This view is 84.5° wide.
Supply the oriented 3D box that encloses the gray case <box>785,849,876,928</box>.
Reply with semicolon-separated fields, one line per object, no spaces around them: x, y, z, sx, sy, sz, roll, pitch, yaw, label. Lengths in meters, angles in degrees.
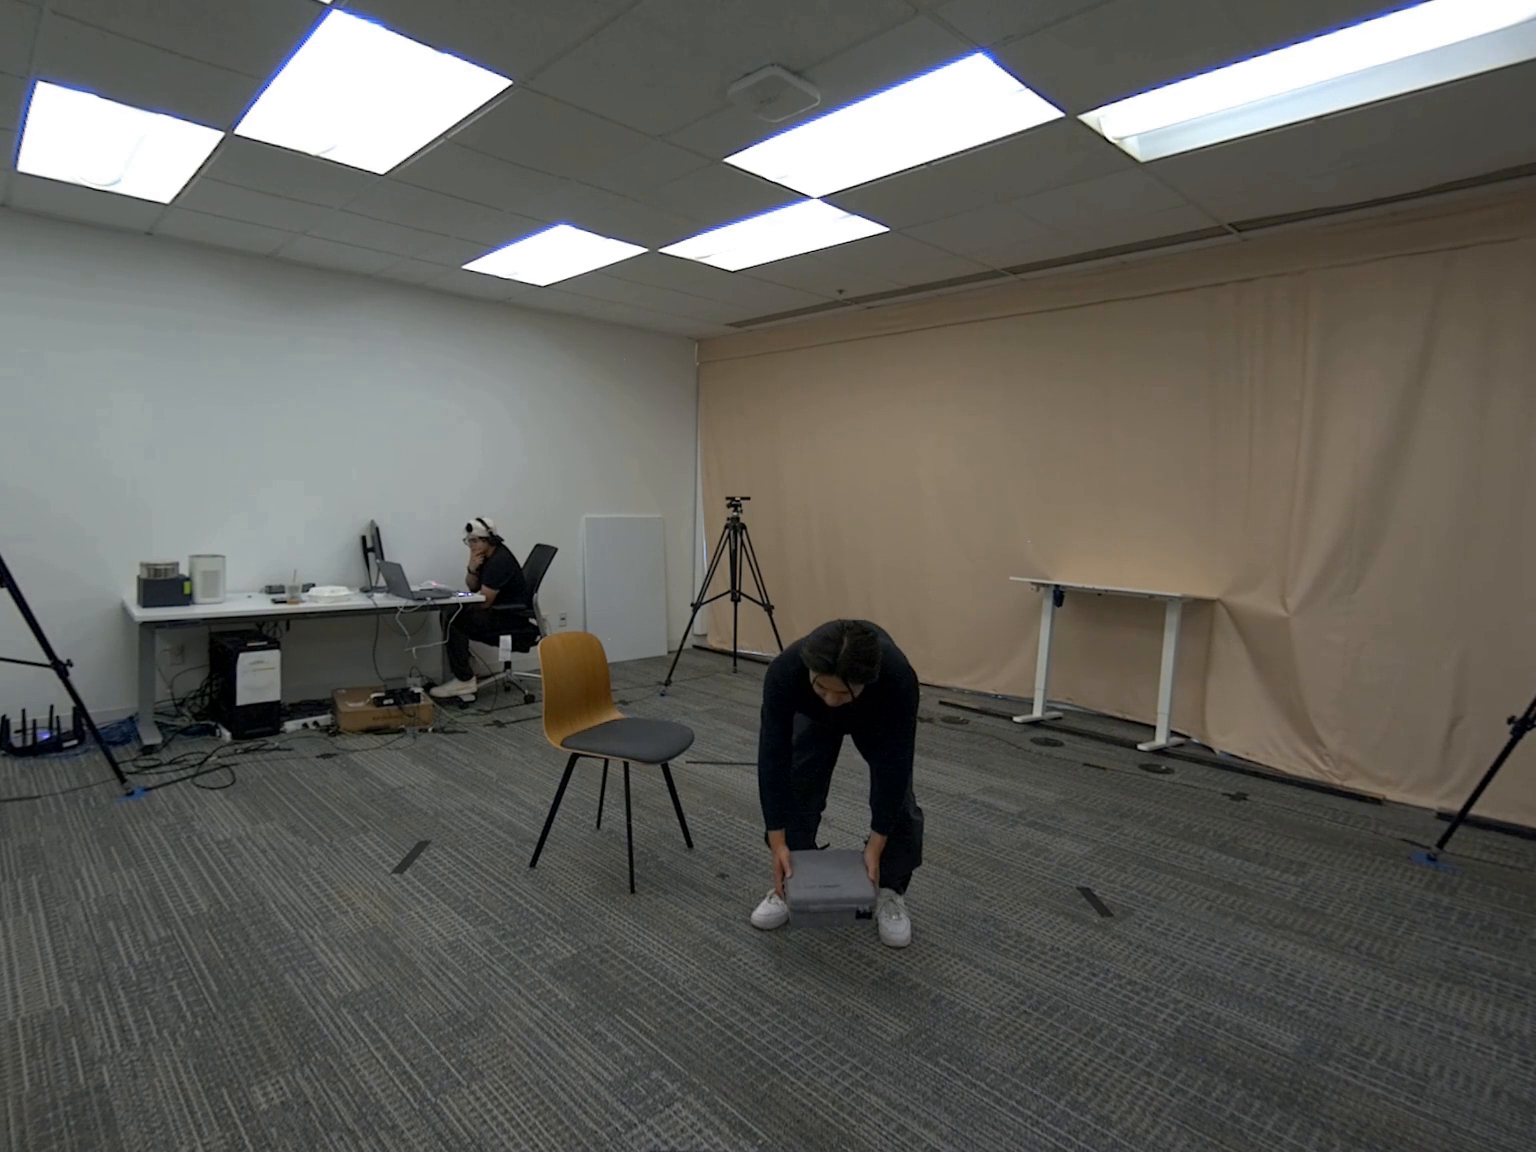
0.162;0.913;2.477;0.257;0.103;0.263;-2;14;-1;gray case
